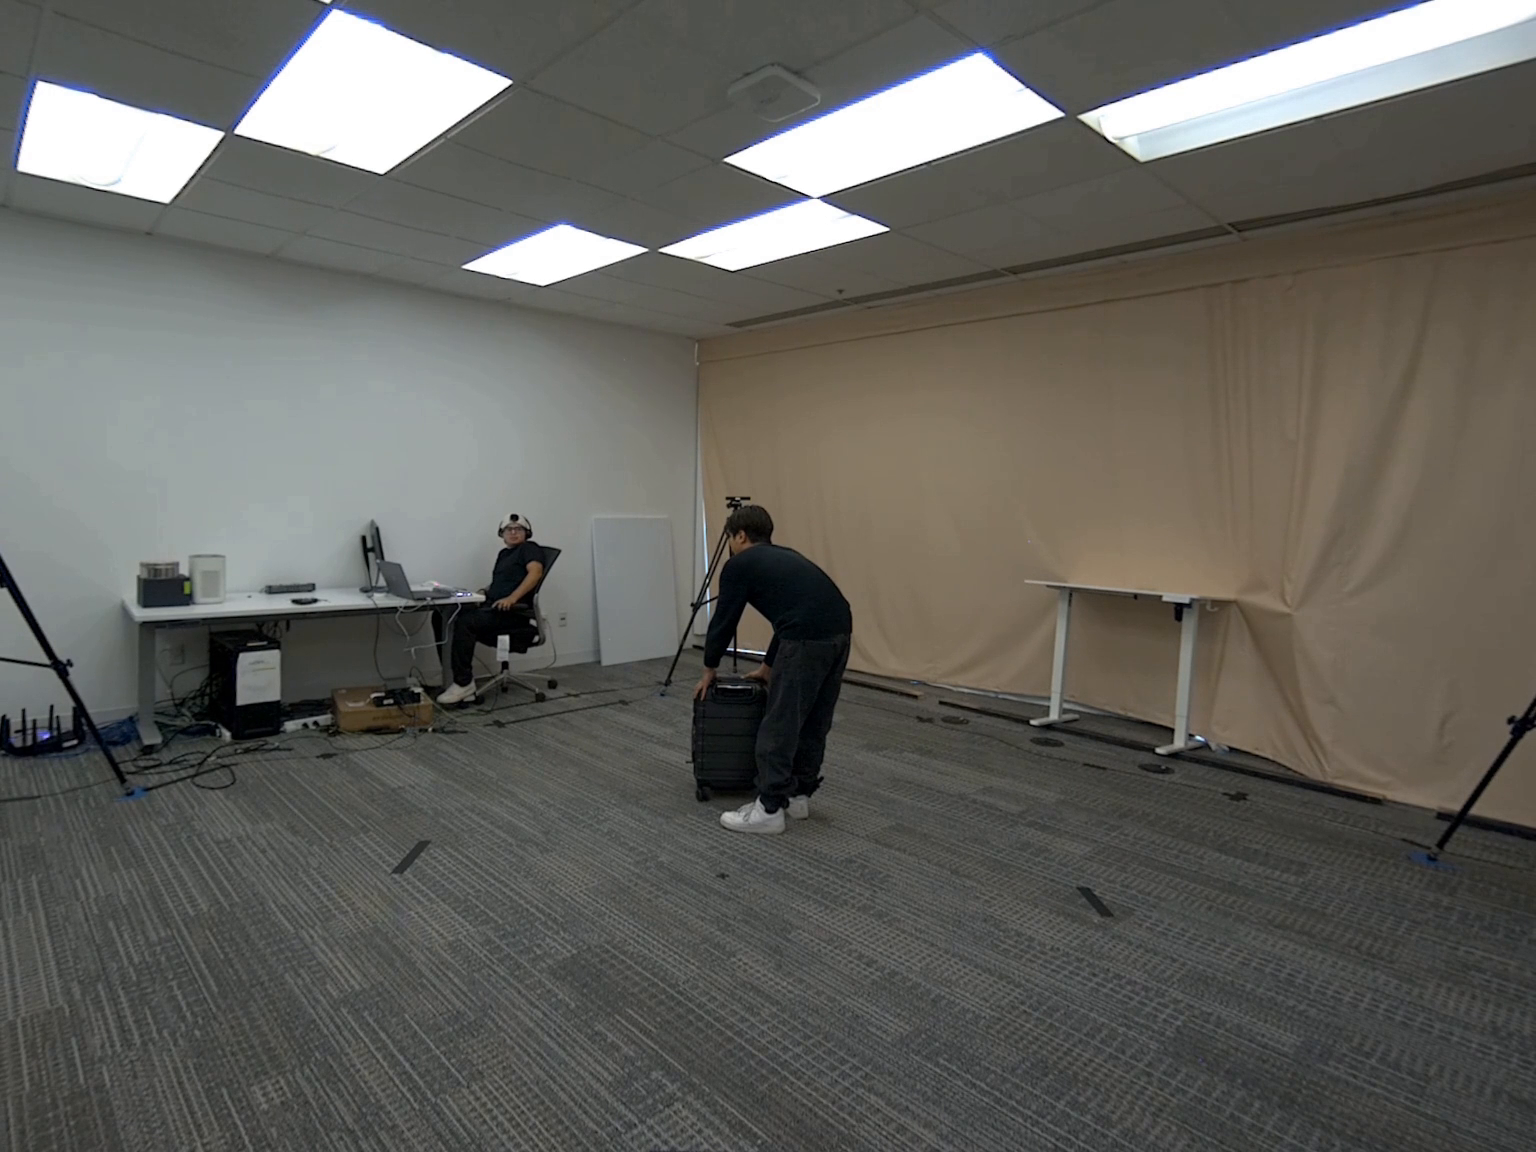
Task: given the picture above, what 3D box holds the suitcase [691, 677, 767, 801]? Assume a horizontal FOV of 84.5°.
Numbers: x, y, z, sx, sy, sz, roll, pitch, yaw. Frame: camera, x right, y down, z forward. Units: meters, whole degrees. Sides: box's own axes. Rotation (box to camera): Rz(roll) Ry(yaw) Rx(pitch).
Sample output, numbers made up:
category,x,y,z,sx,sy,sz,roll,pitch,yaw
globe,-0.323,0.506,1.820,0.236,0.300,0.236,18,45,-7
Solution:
category,x,y,z,sx,sy,sz,roll,pitch,yaw
suitcase,-0.186,0.750,4.013,0.375,0.548,0.249,2,3,-3
